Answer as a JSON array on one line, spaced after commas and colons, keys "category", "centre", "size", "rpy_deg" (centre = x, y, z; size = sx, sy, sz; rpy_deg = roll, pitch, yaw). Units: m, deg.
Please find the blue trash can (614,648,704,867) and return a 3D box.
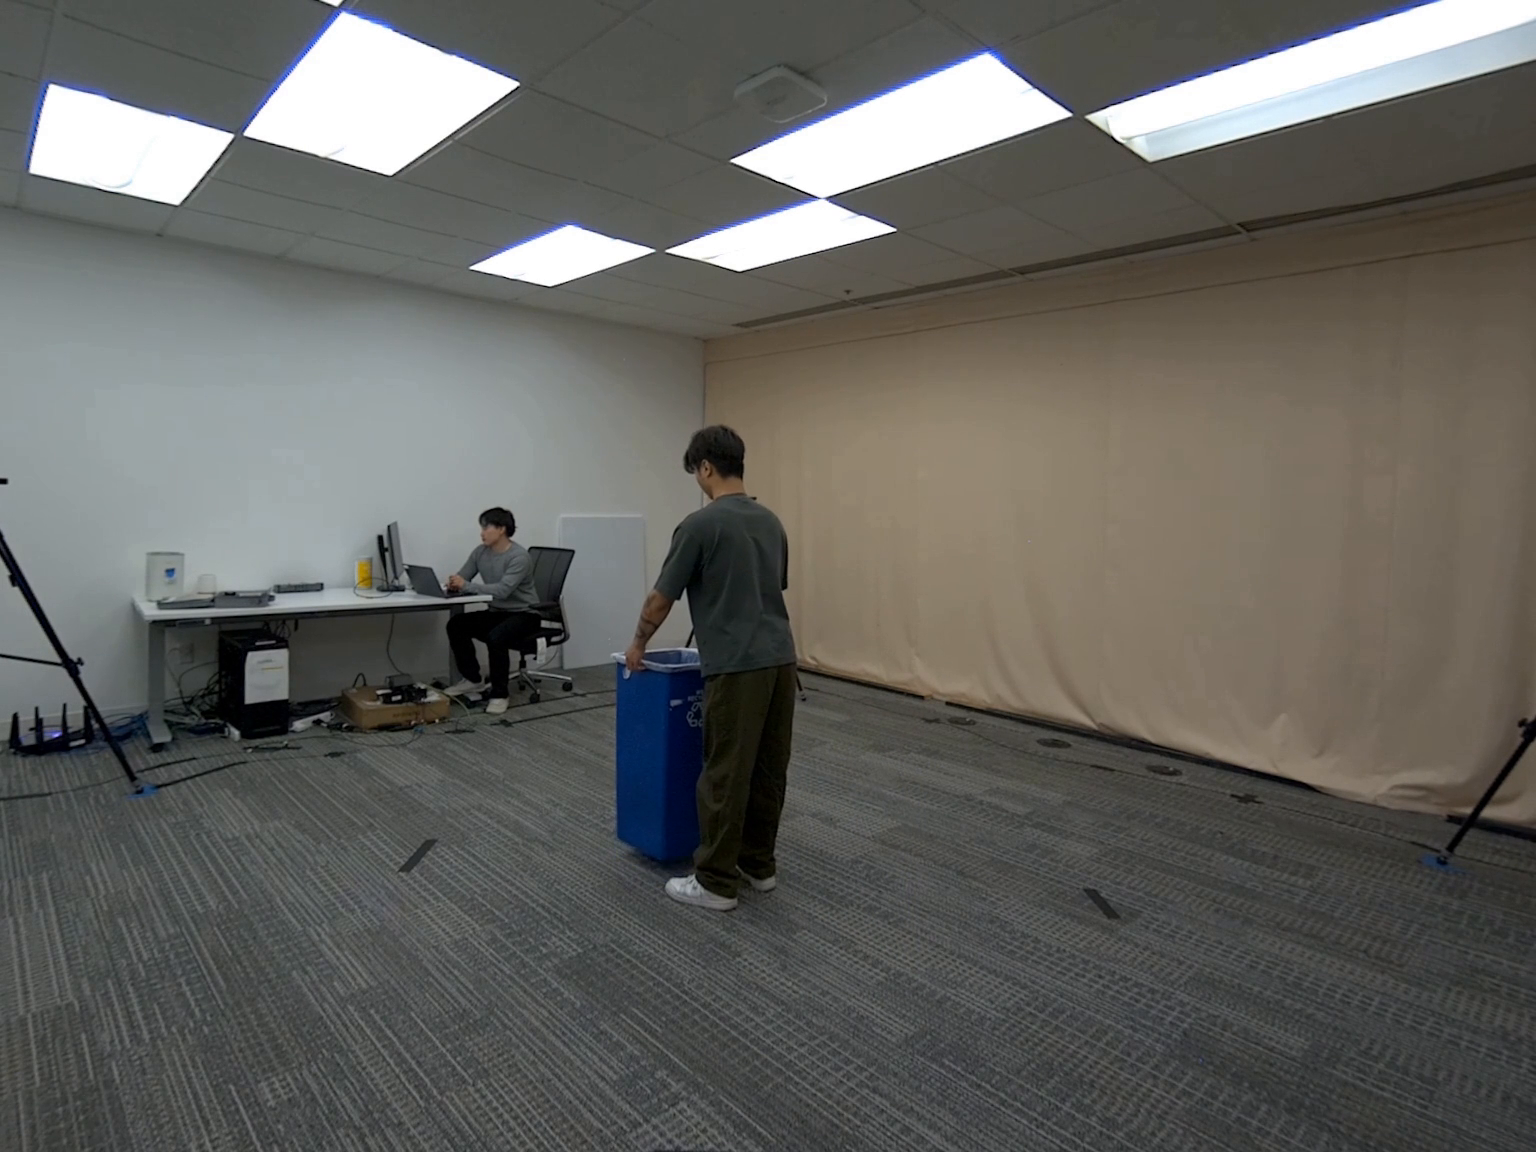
[{"category": "blue trash can", "centre": [-0.384, 0.665, 3.251], "size": [0.369, 0.713, 0.383], "rpy_deg": [2, 2, -44]}]
